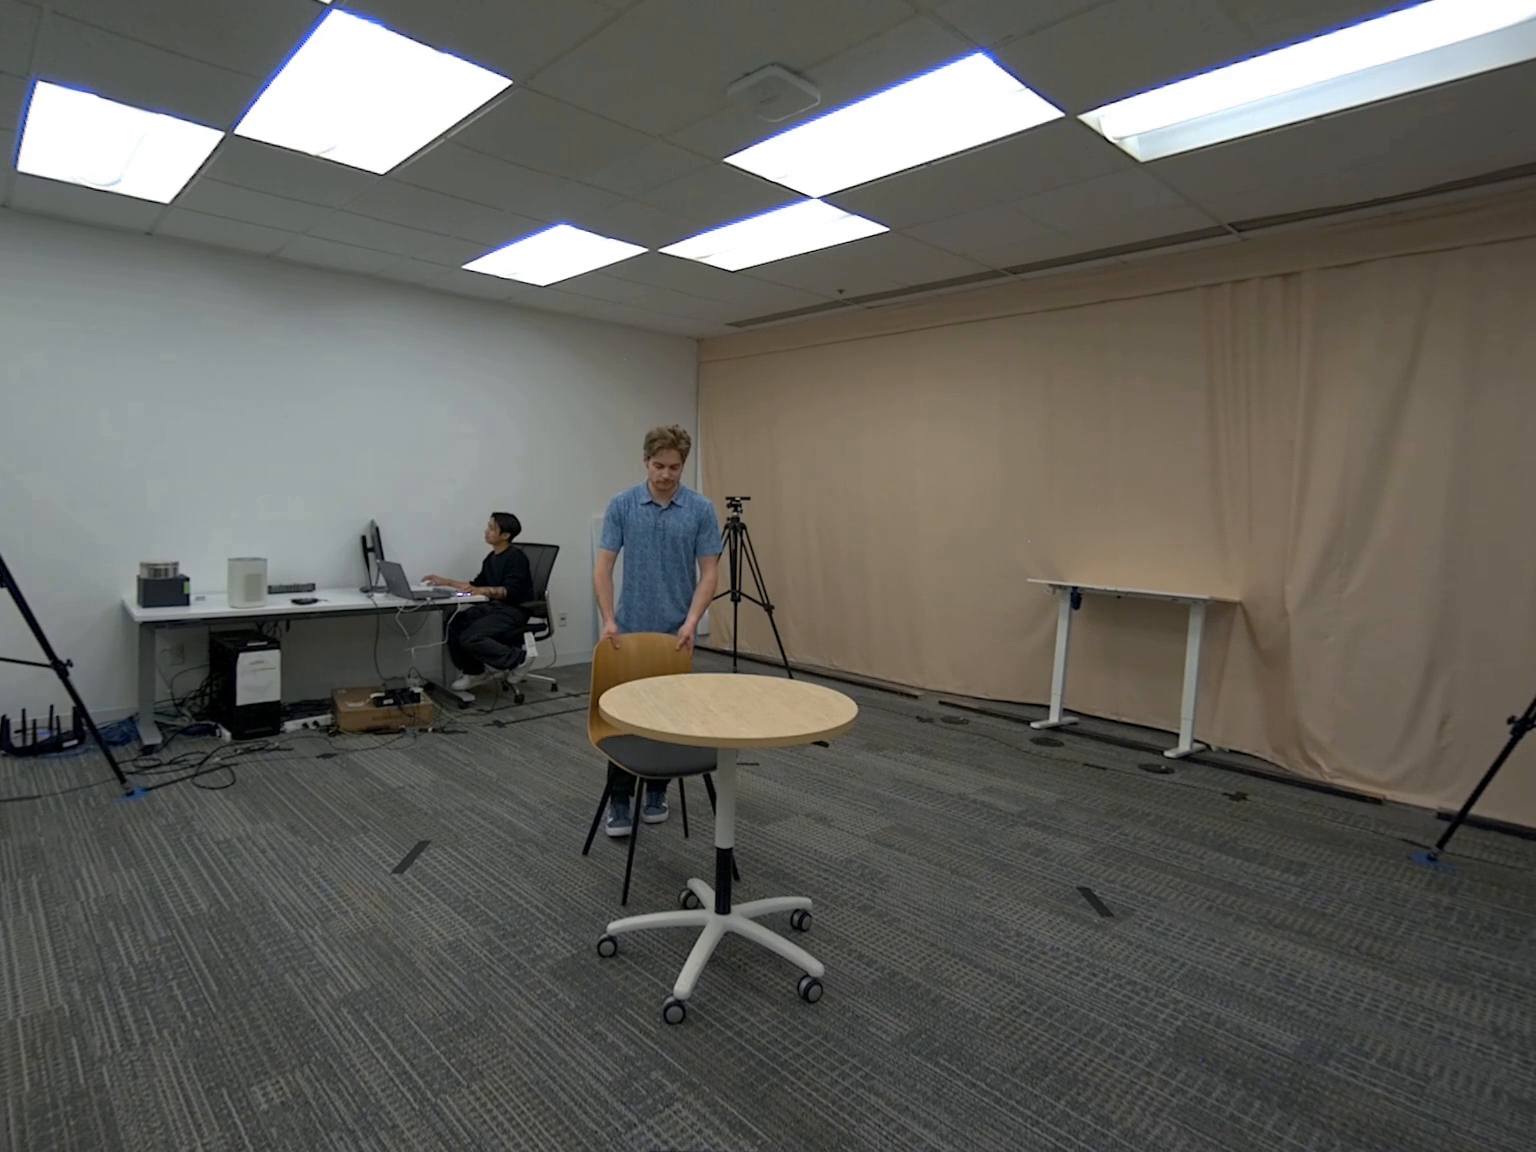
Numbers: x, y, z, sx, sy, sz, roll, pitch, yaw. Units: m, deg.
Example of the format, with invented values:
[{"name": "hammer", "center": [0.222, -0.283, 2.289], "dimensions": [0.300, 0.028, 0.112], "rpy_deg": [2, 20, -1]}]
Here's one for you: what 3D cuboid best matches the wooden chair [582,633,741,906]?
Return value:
[{"name": "wooden chair", "center": [-0.400, 0.672, 3.118], "dimensions": [0.468, 0.878, 0.533], "rpy_deg": [0, -1, -29]}]
